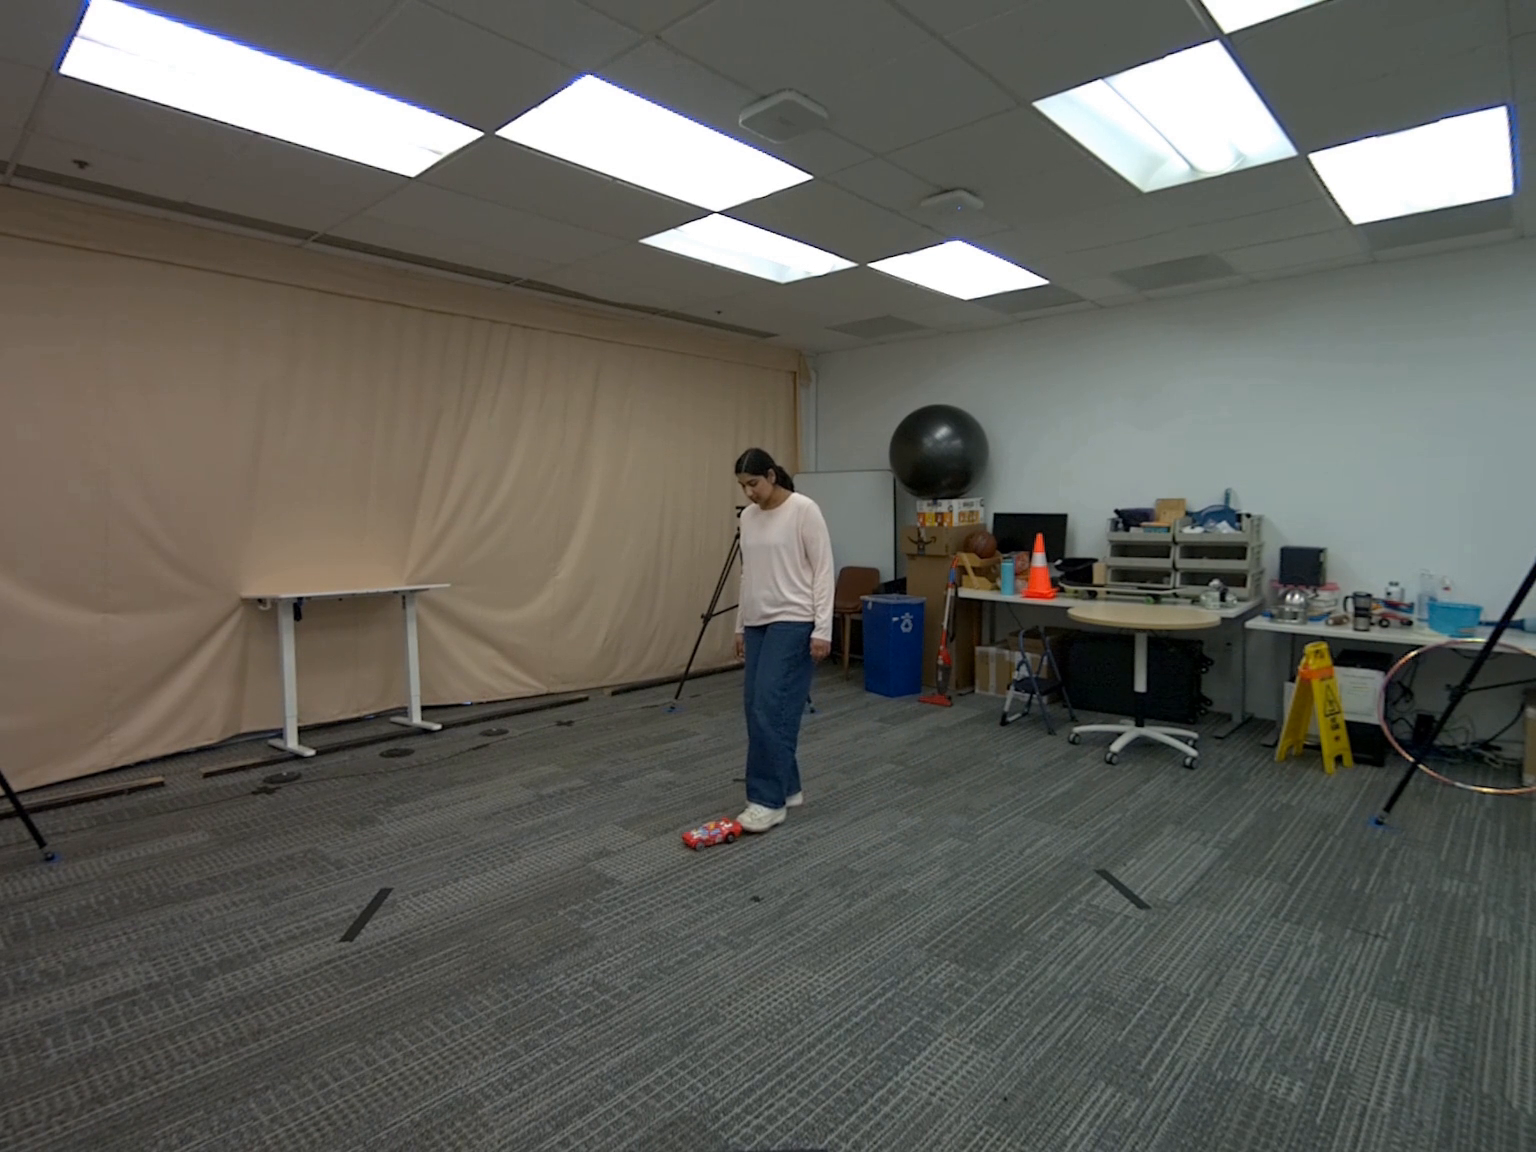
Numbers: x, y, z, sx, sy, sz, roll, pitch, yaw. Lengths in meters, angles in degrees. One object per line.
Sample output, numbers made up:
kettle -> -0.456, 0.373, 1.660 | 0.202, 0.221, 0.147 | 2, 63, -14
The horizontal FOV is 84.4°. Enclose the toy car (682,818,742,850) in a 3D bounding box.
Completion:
toy car -> -0.226, 1.070, 3.489 | 0.249, 0.082, 0.134 | -17, 11, -30
